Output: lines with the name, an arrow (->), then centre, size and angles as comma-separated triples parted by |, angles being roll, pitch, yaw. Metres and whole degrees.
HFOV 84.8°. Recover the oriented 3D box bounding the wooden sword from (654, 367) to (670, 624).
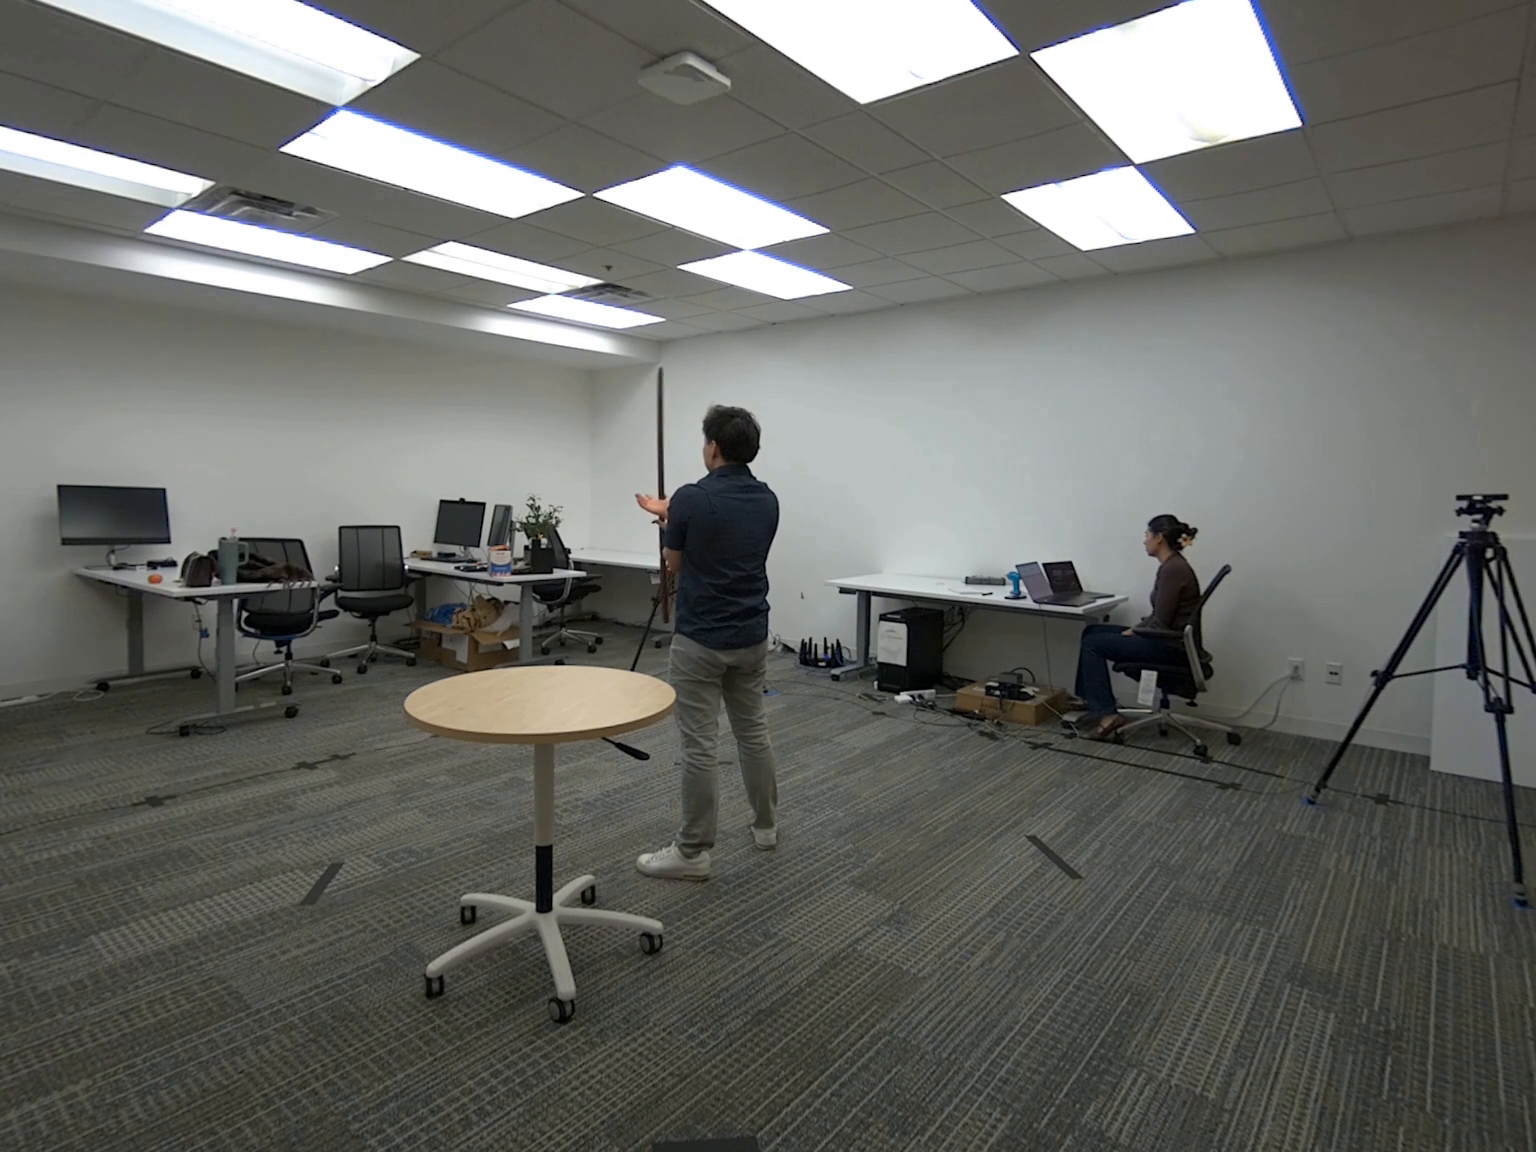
wooden sword -> -0.445, -0.309, 3.428 | 0.023, 1.014, 0.053 | -11, 13, -43
